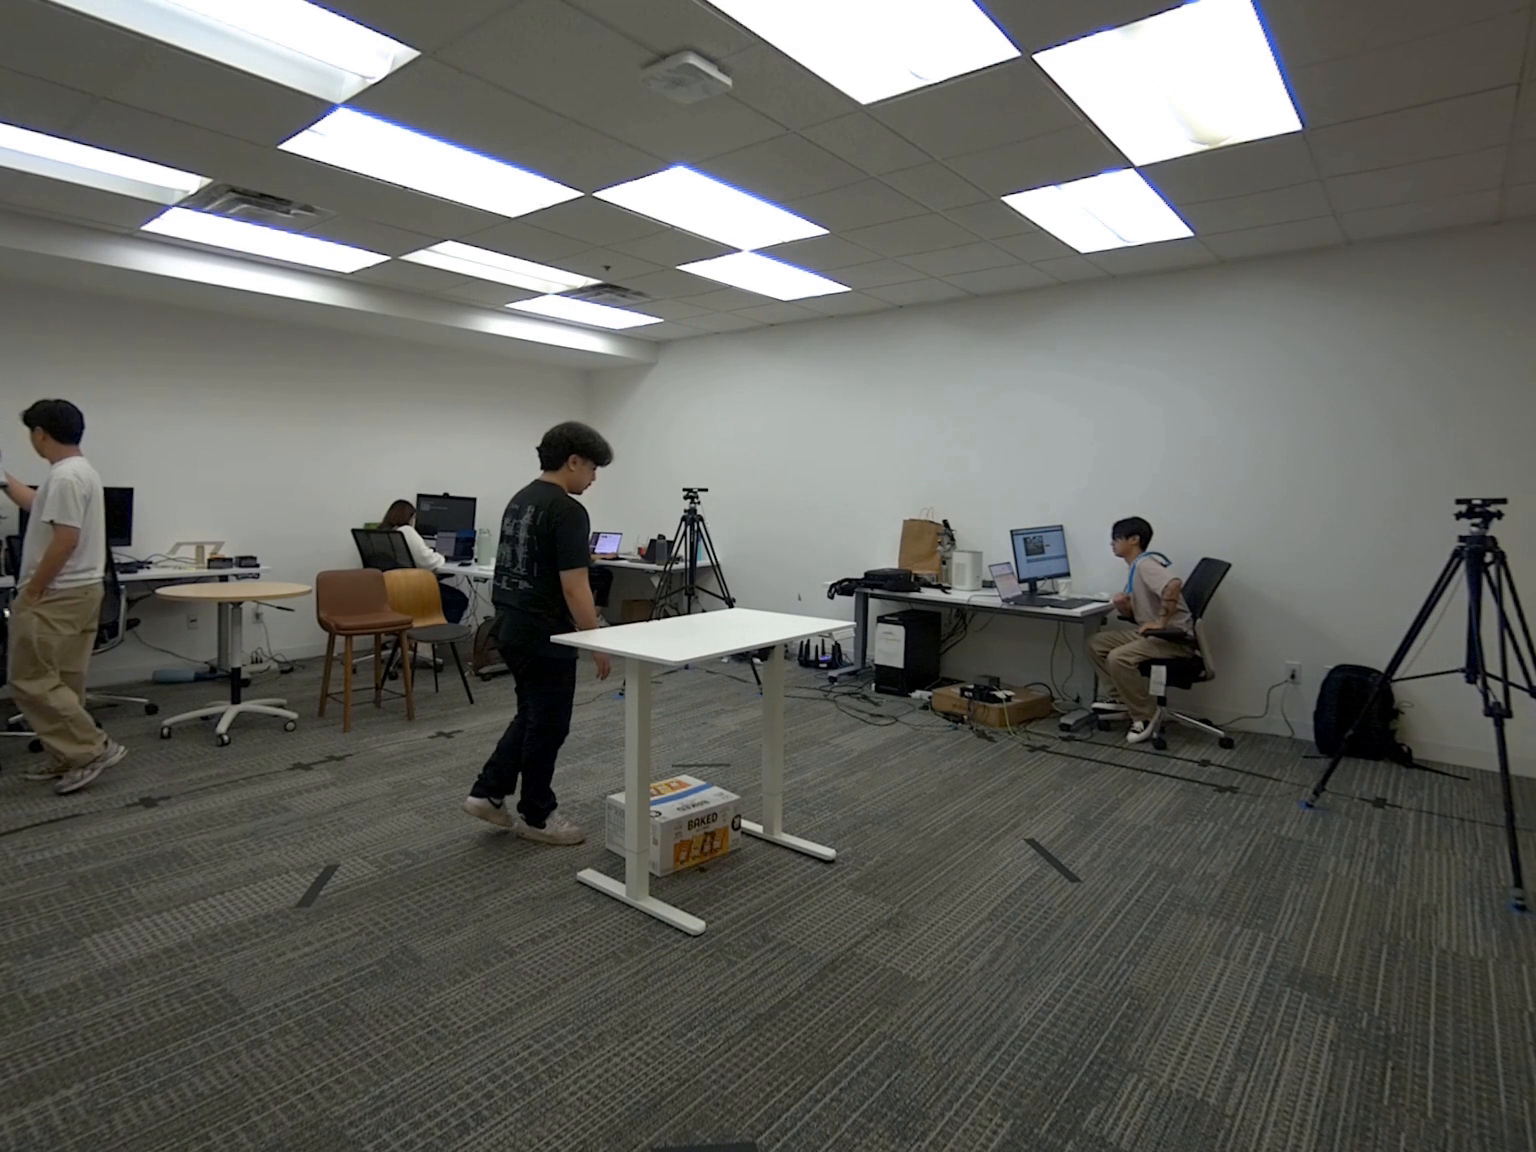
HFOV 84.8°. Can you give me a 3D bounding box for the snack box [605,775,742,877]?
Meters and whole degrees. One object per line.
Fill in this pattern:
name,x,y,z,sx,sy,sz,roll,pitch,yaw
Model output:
snack box,-0.373,0.951,3.279,0.393,0.205,0.352,-4,7,-45
